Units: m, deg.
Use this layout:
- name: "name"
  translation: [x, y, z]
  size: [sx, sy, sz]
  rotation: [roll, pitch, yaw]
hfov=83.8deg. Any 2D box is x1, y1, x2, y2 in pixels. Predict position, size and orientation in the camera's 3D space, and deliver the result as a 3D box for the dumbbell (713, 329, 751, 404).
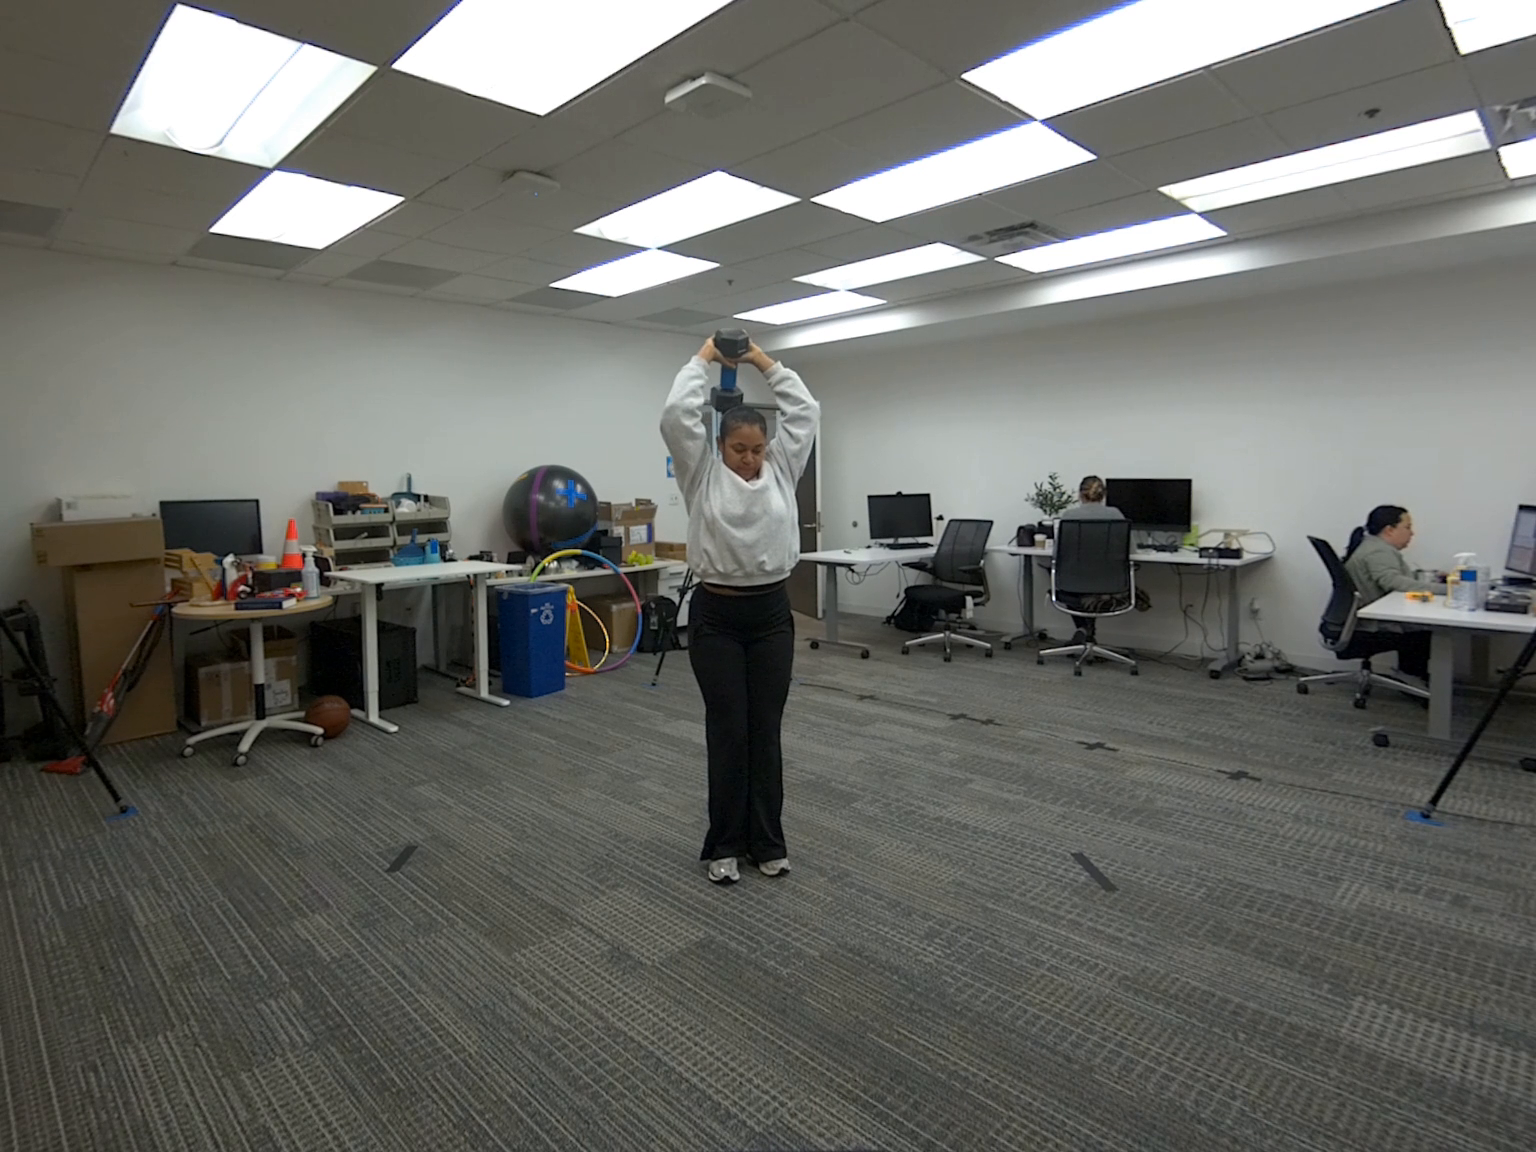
- name: "dumbbell"
  translation: [-0.134, -0.736, 3.099]
  size: [0.112, 0.287, 0.121]
  rotation: [25, 34, 27]
